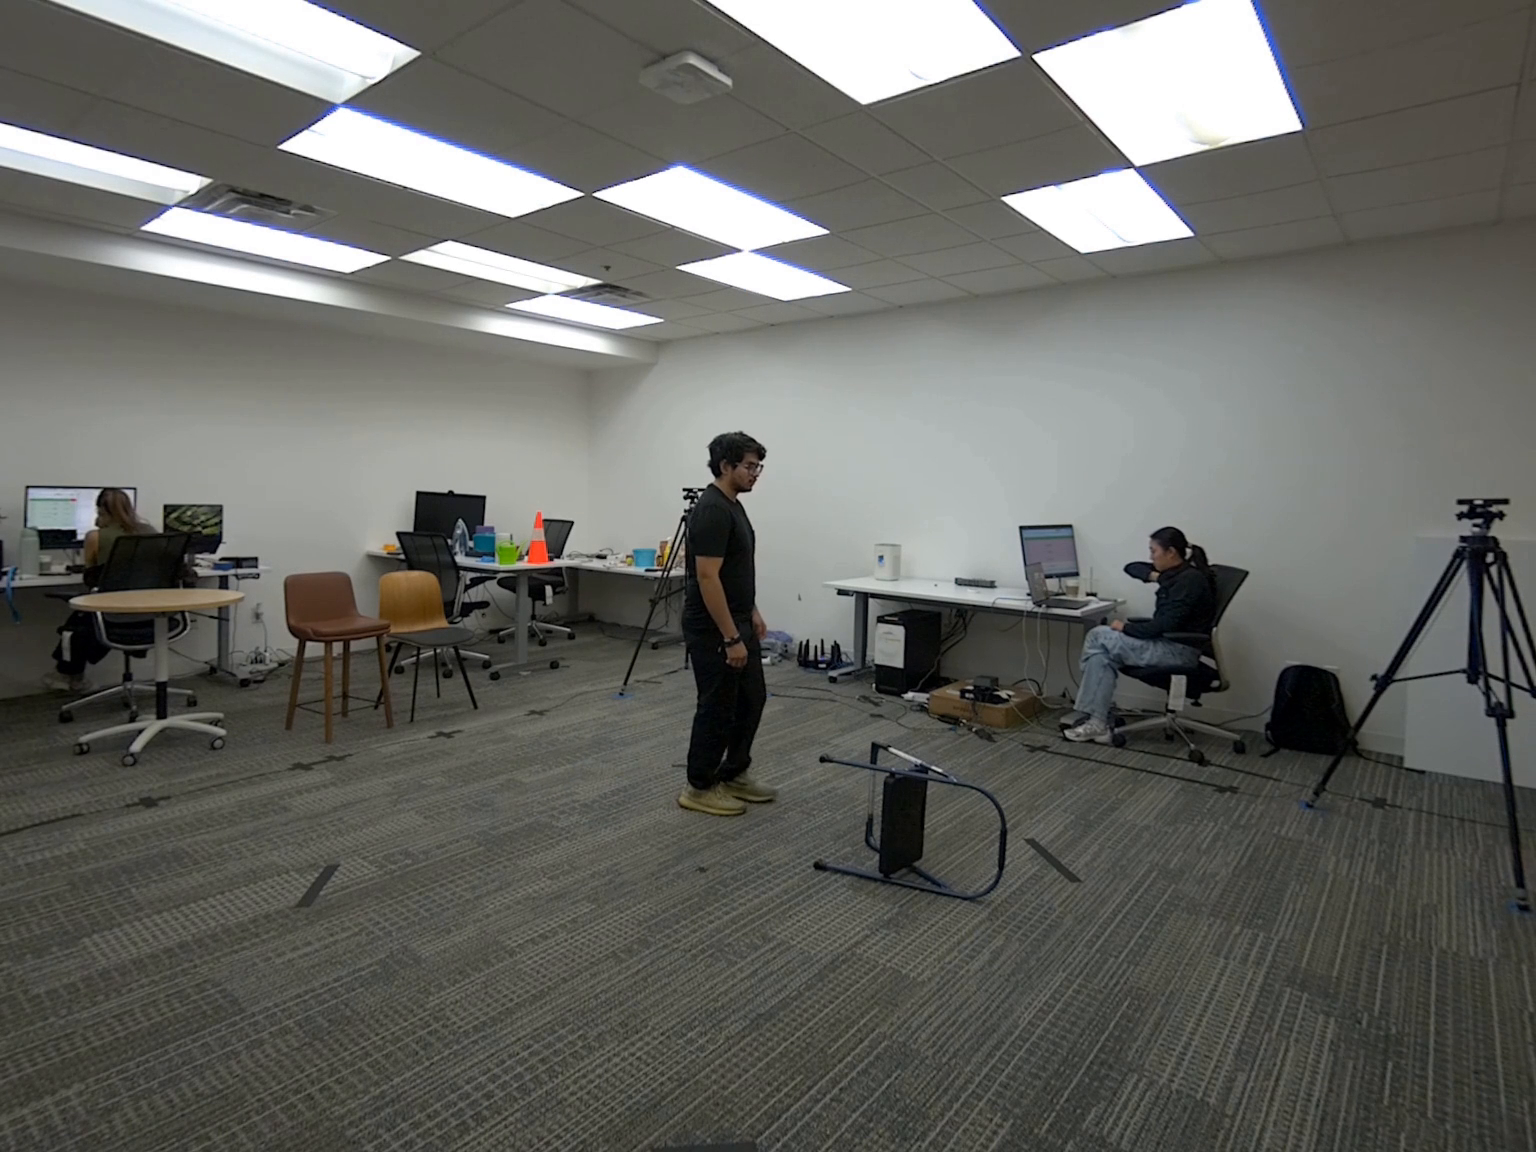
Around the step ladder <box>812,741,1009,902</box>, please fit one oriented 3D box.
[{"bbox_3d":[0.512,0.885,3.032,0.627,0.428,0.339,8,8,41],"label":"step ladder"}]
